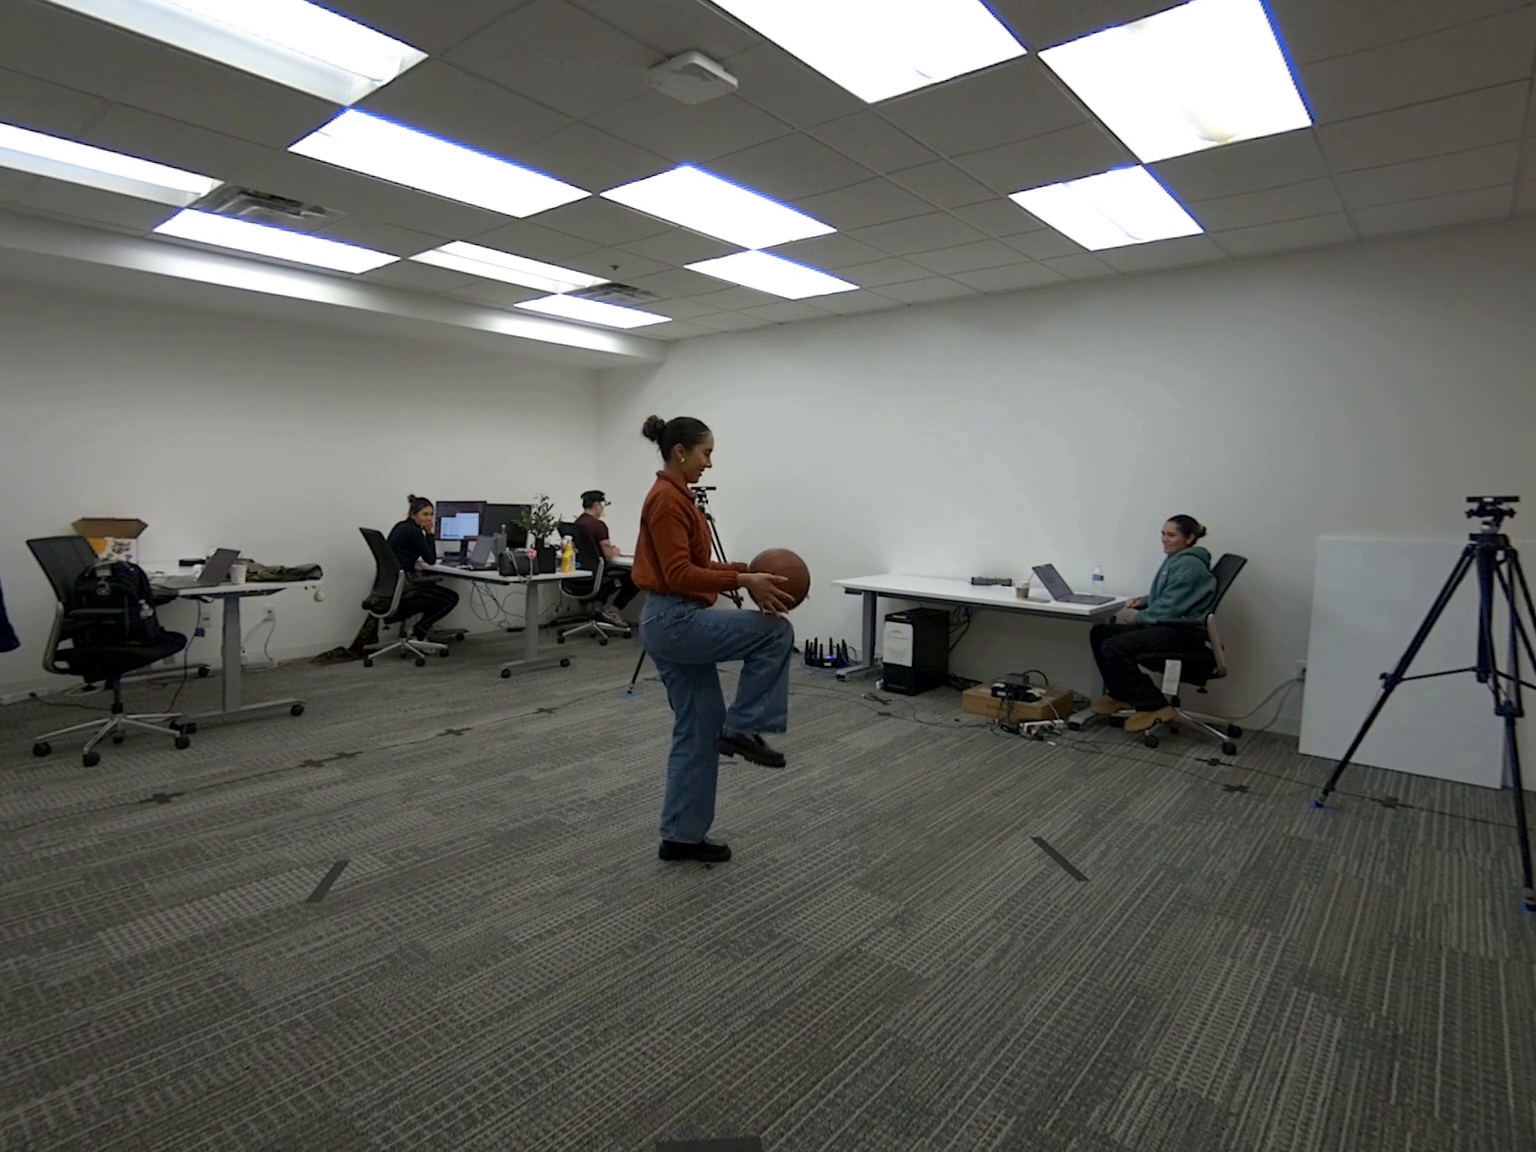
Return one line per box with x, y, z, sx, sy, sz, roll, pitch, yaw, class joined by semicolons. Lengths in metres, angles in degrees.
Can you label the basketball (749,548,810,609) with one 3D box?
0.042;-0.038;3.099;0.236;0.235;0.237;1;4;-2;basketball
